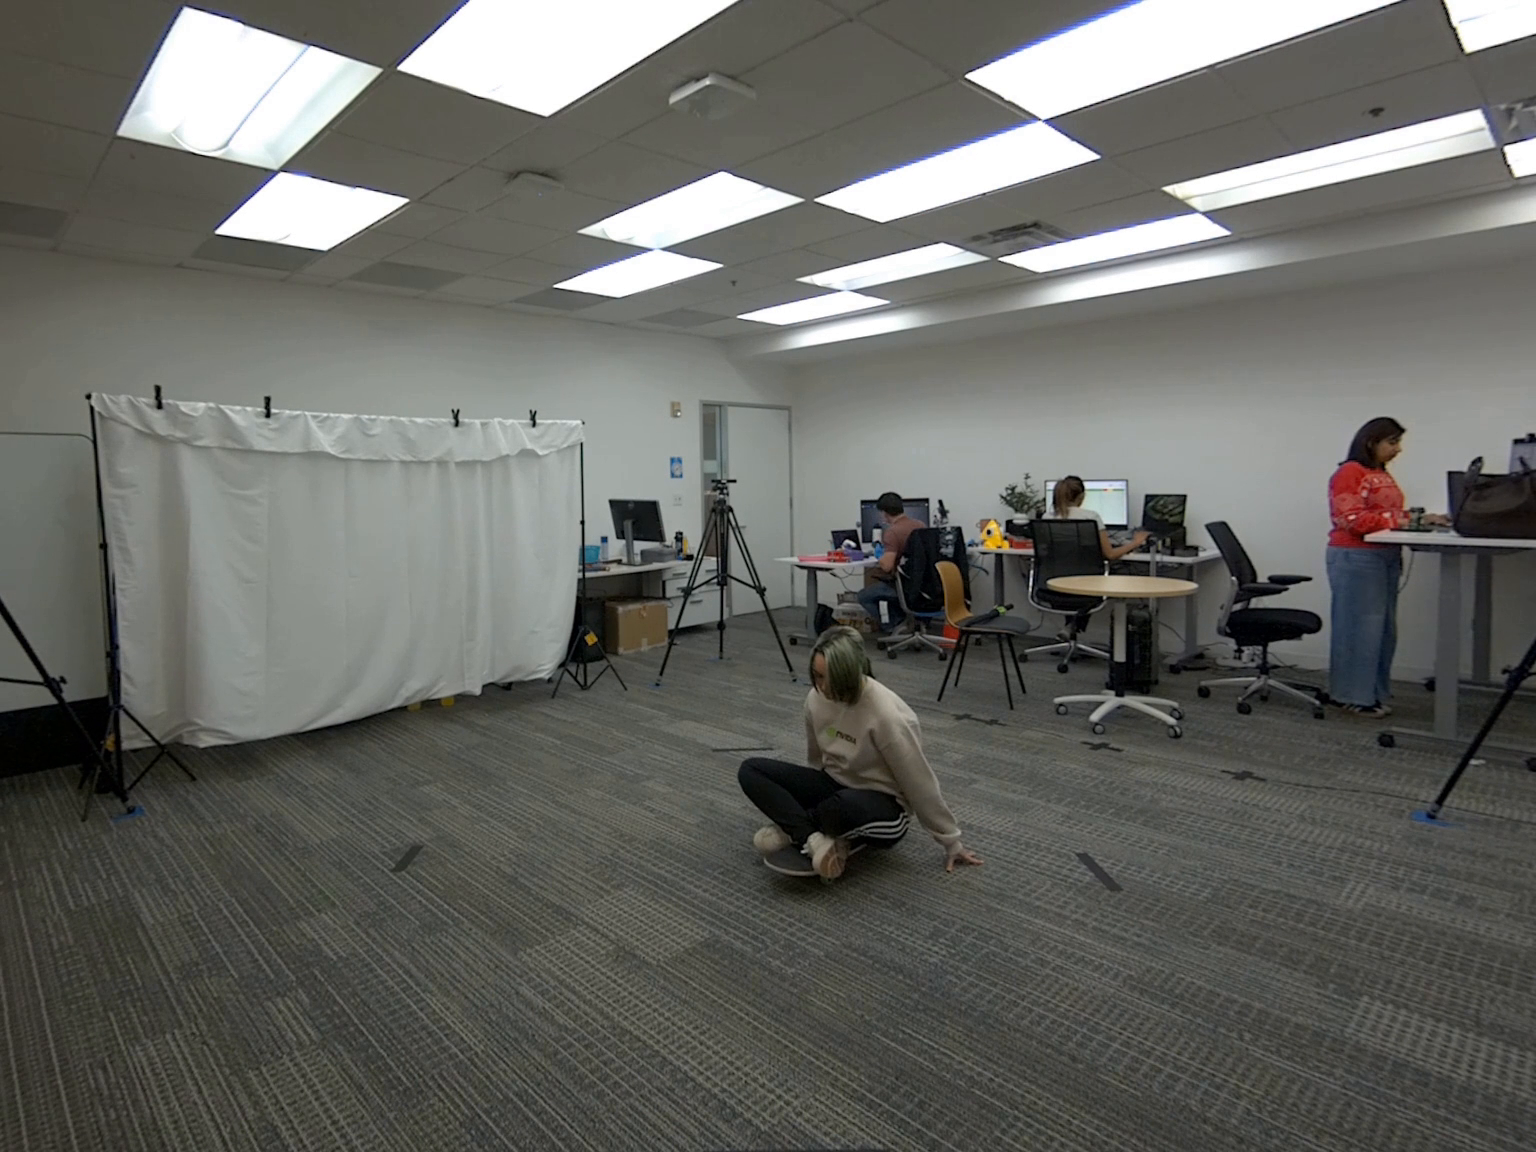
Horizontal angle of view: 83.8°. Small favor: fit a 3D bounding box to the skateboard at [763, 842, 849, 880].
[{"bbox_3d":[0.281,0.986,3.120,0.200,0.110,0.765,8,9,39],"label":"skateboard"}]
